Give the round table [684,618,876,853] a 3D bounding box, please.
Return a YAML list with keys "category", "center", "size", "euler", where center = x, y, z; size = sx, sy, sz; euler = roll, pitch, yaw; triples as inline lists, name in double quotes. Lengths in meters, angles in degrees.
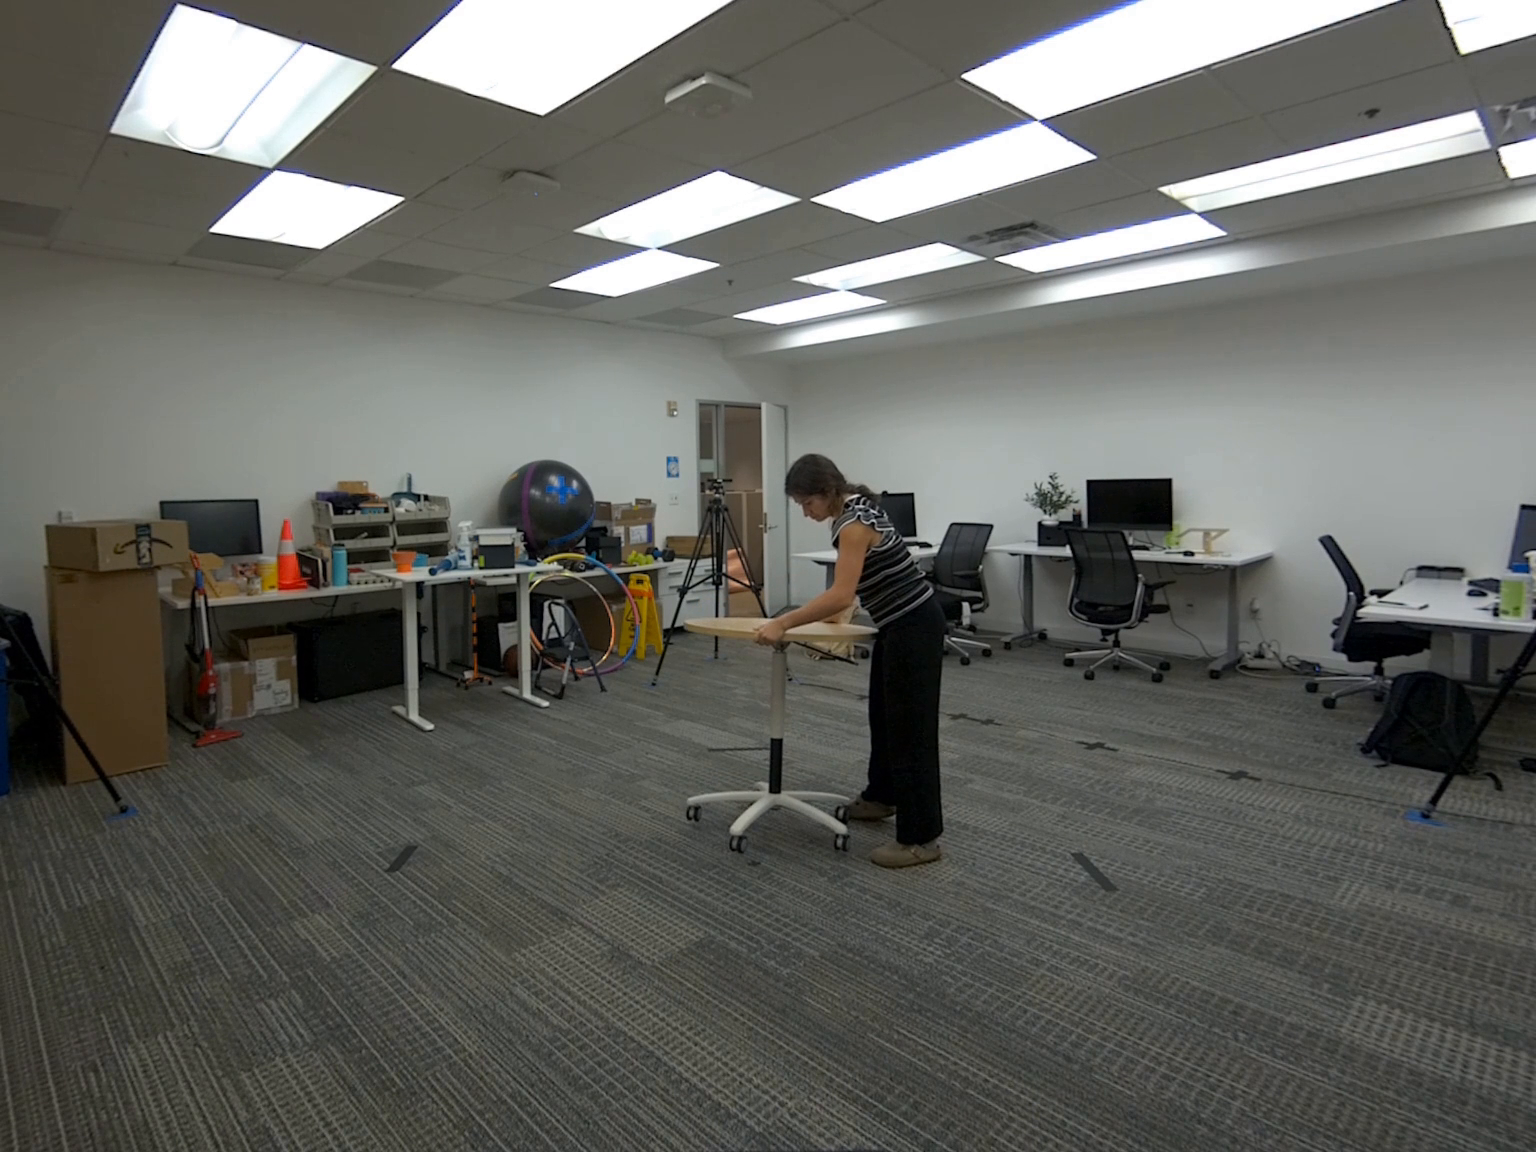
- category: "round table"
  center: [0.037, 0.590, 3.347]
  size: [0.784, 0.787, 0.785]
  euler: [2, 0, -2]
